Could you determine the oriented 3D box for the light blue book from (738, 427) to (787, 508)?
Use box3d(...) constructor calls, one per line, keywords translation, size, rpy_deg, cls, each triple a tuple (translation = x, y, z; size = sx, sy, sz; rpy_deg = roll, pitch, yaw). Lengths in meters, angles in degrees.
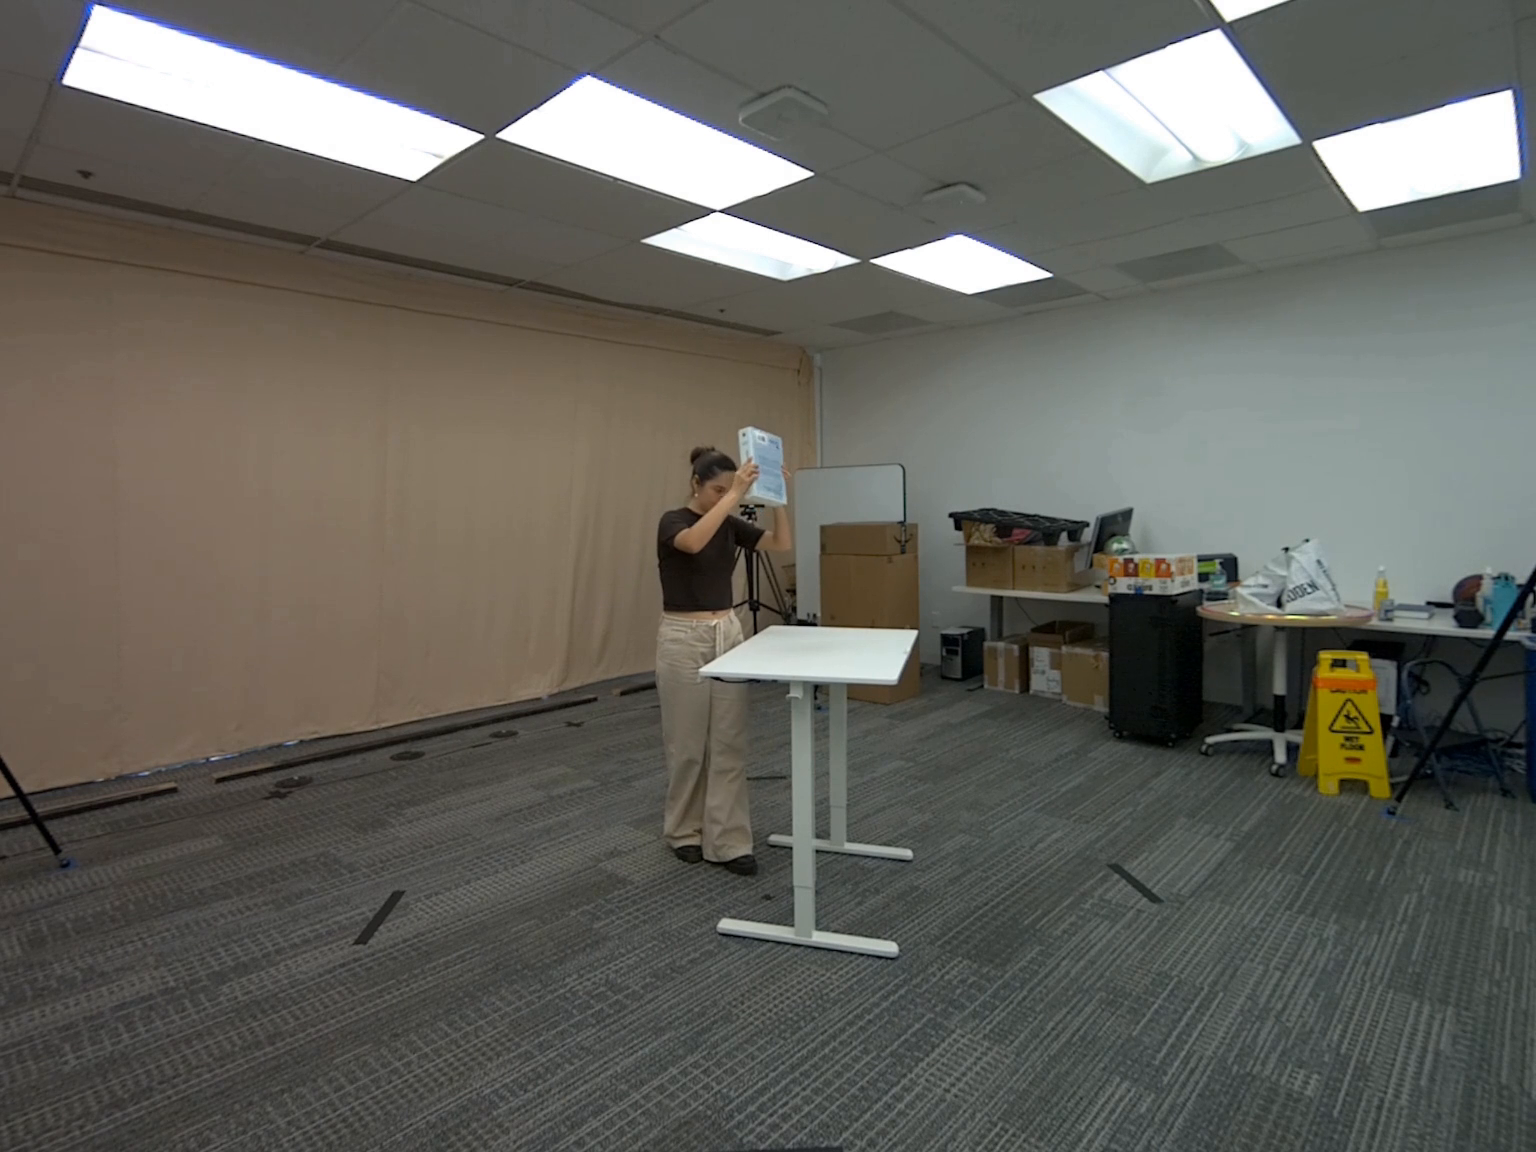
box3d(translation=(-0.017, -0.395, 3.089), size=(0.060, 0.263, 0.185), rpy_deg=(-13, -15, 38), cls="light blue book")
